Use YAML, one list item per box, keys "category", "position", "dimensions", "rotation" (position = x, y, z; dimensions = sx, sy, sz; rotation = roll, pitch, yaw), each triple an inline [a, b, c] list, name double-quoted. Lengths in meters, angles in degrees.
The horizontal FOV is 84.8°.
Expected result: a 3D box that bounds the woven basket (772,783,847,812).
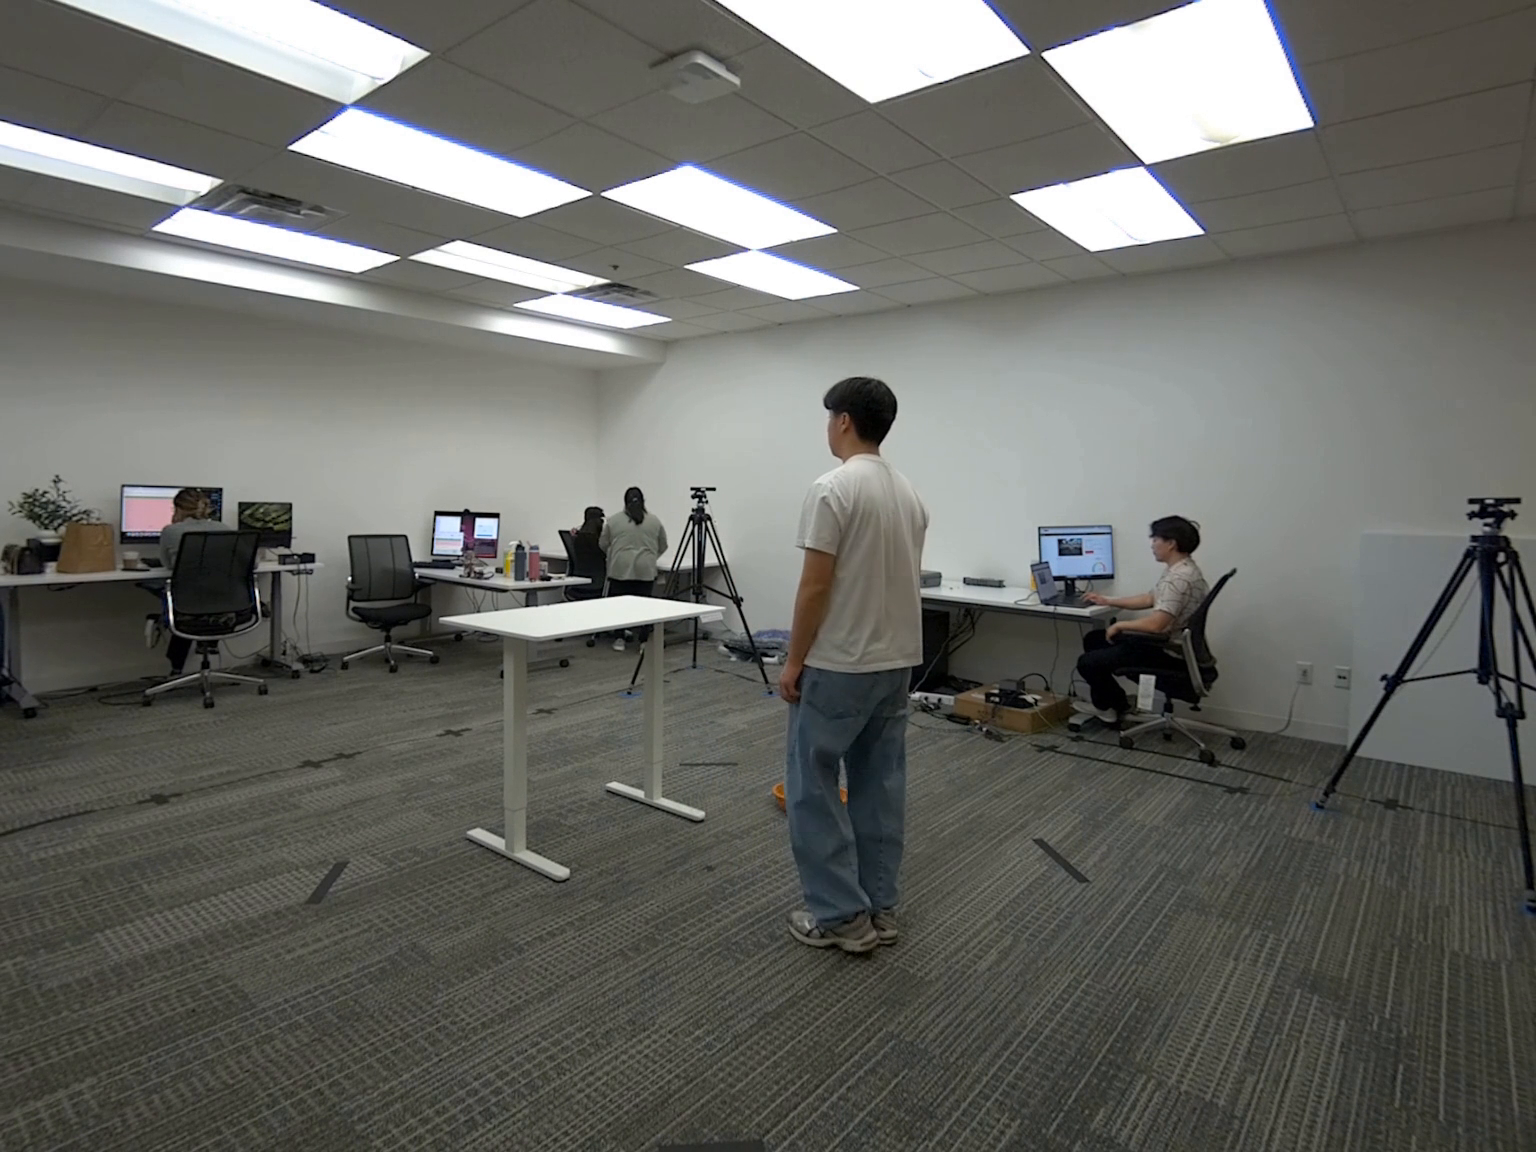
- category: "woven basket"
  position: [0.172, 0.963, 3.723]
  dimensions: [0.357, 0.073, 0.249]
  rotation: [2, 5, 15]
